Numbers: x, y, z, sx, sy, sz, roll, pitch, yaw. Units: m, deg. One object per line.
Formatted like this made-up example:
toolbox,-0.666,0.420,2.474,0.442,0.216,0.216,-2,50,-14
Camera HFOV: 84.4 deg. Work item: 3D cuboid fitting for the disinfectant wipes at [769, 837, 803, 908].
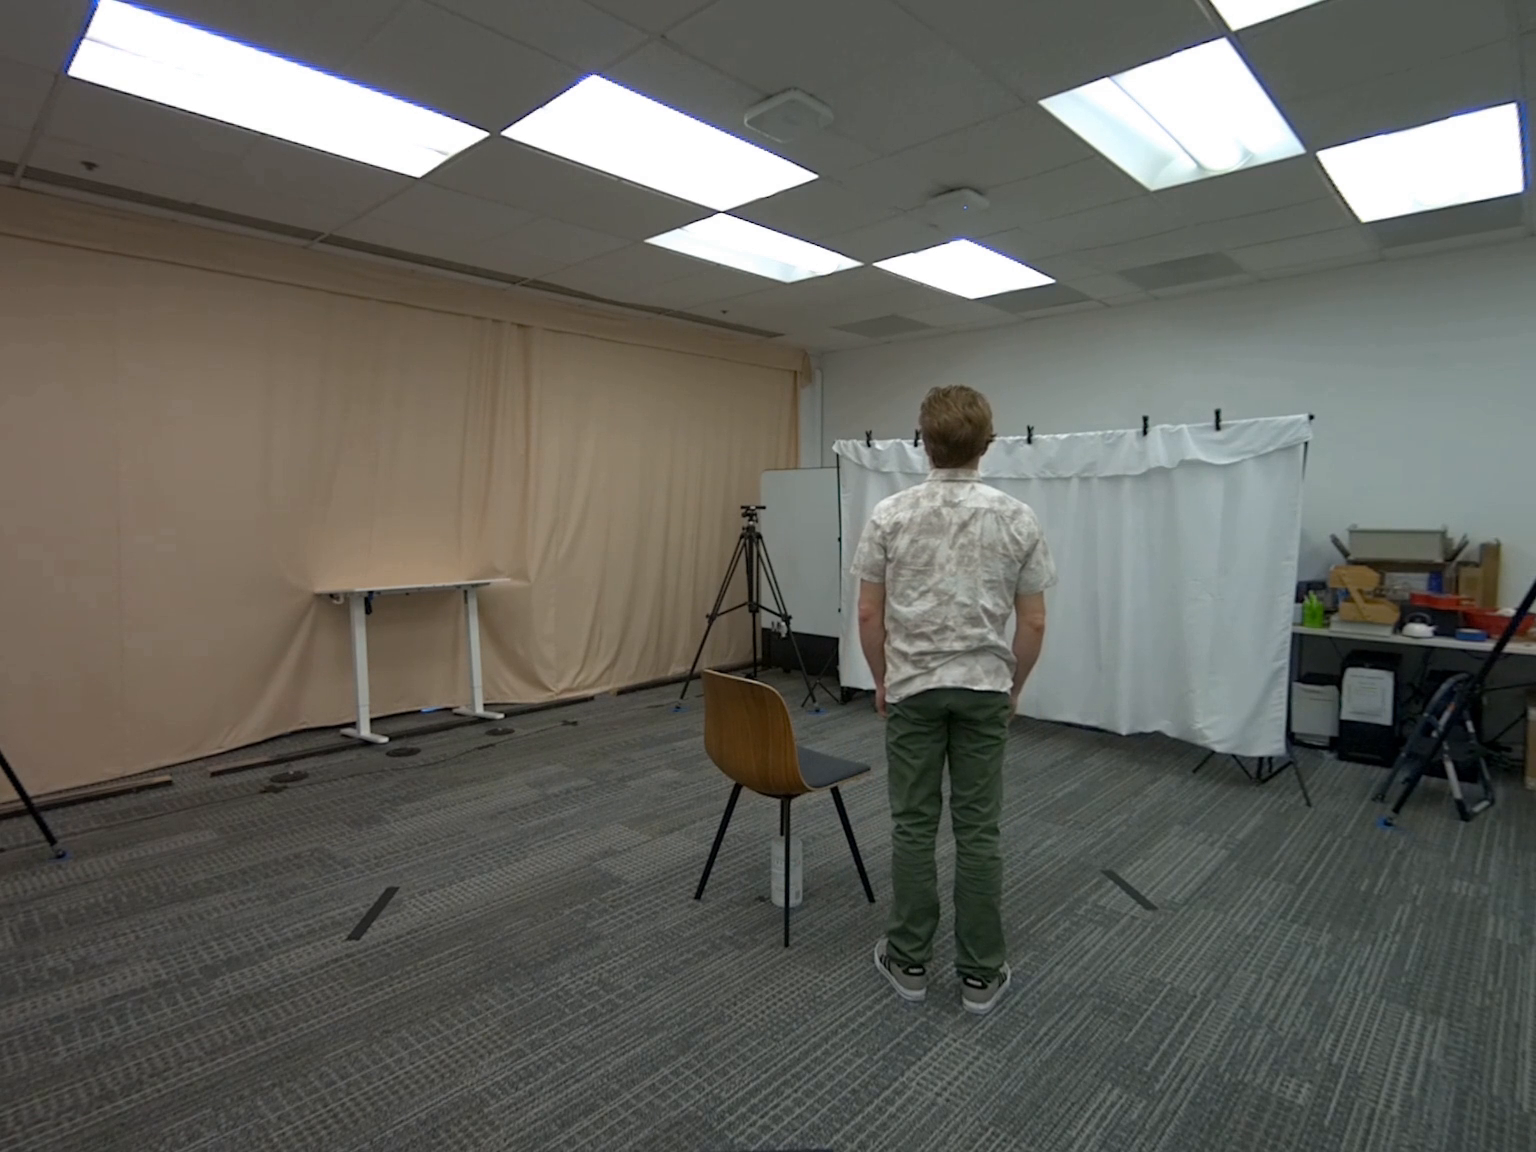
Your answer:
disinfectant wipes,0.073,1.051,2.954,0.118,0.217,0.118,-3,4,-2
